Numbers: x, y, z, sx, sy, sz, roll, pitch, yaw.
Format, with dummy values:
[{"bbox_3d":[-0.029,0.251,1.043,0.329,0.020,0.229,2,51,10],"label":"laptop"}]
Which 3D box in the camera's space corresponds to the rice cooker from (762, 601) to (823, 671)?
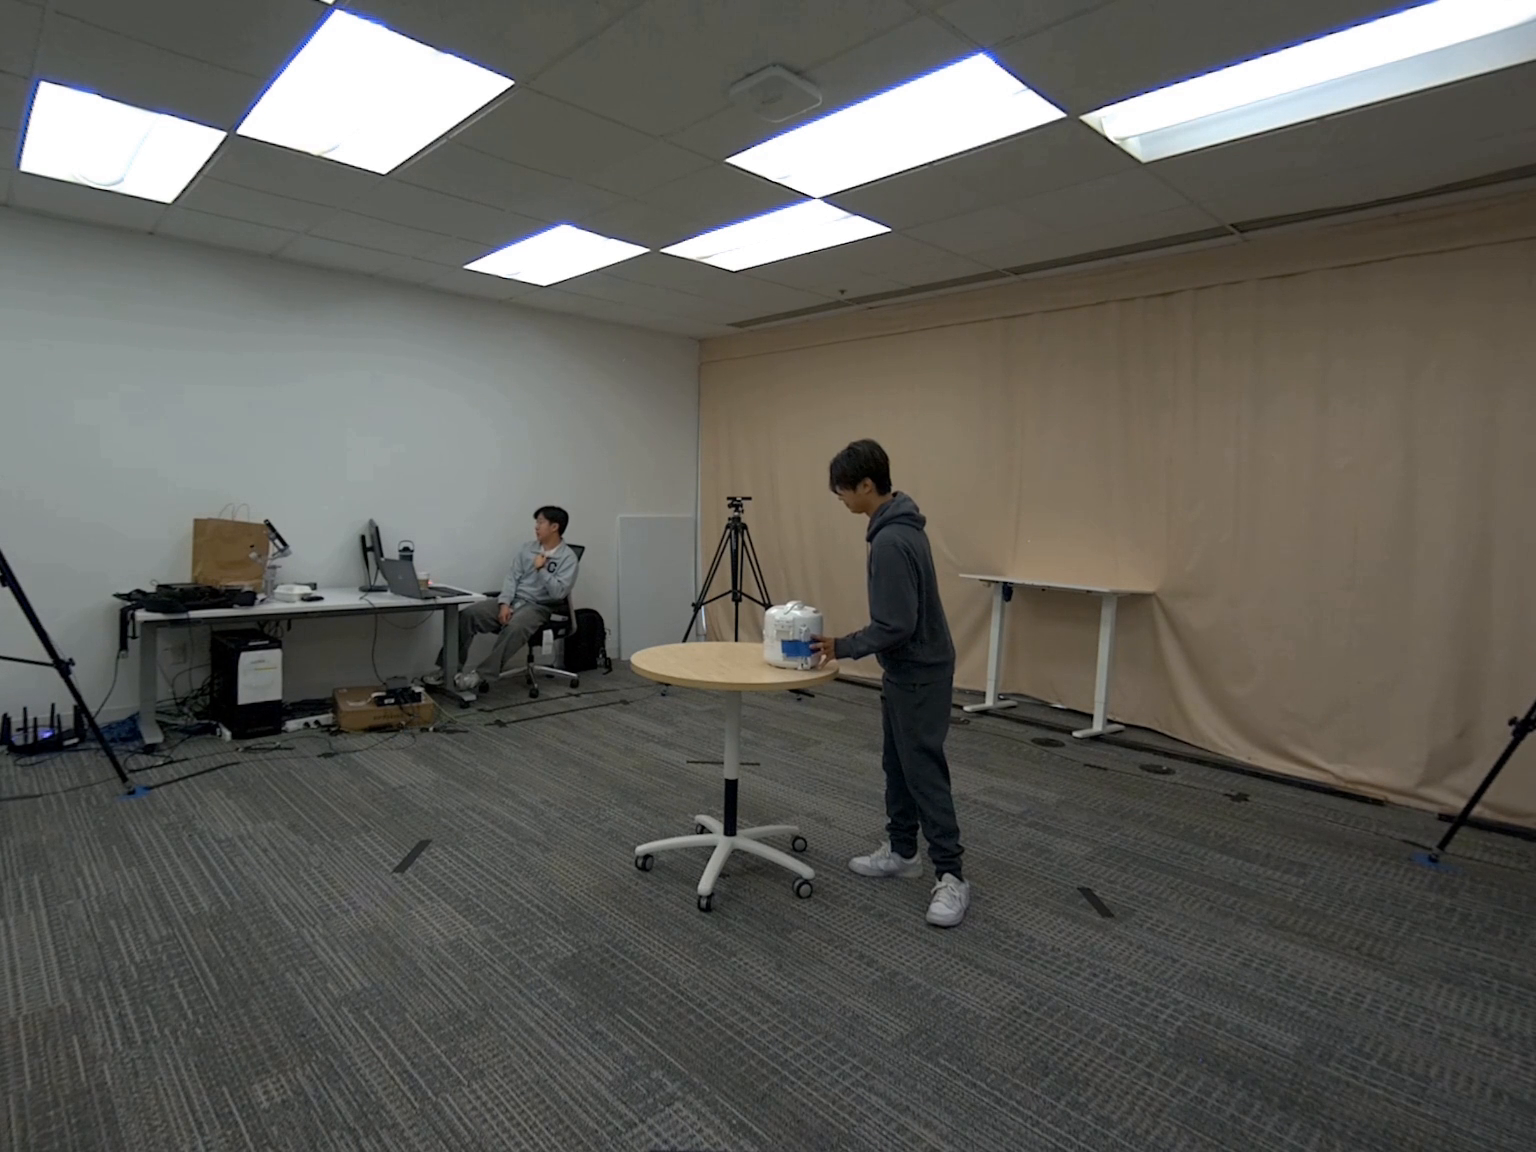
[{"bbox_3d":[0.085,0.206,3.034,0.222,0.232,0.217,5,4,25],"label":"rice cooker"}]
